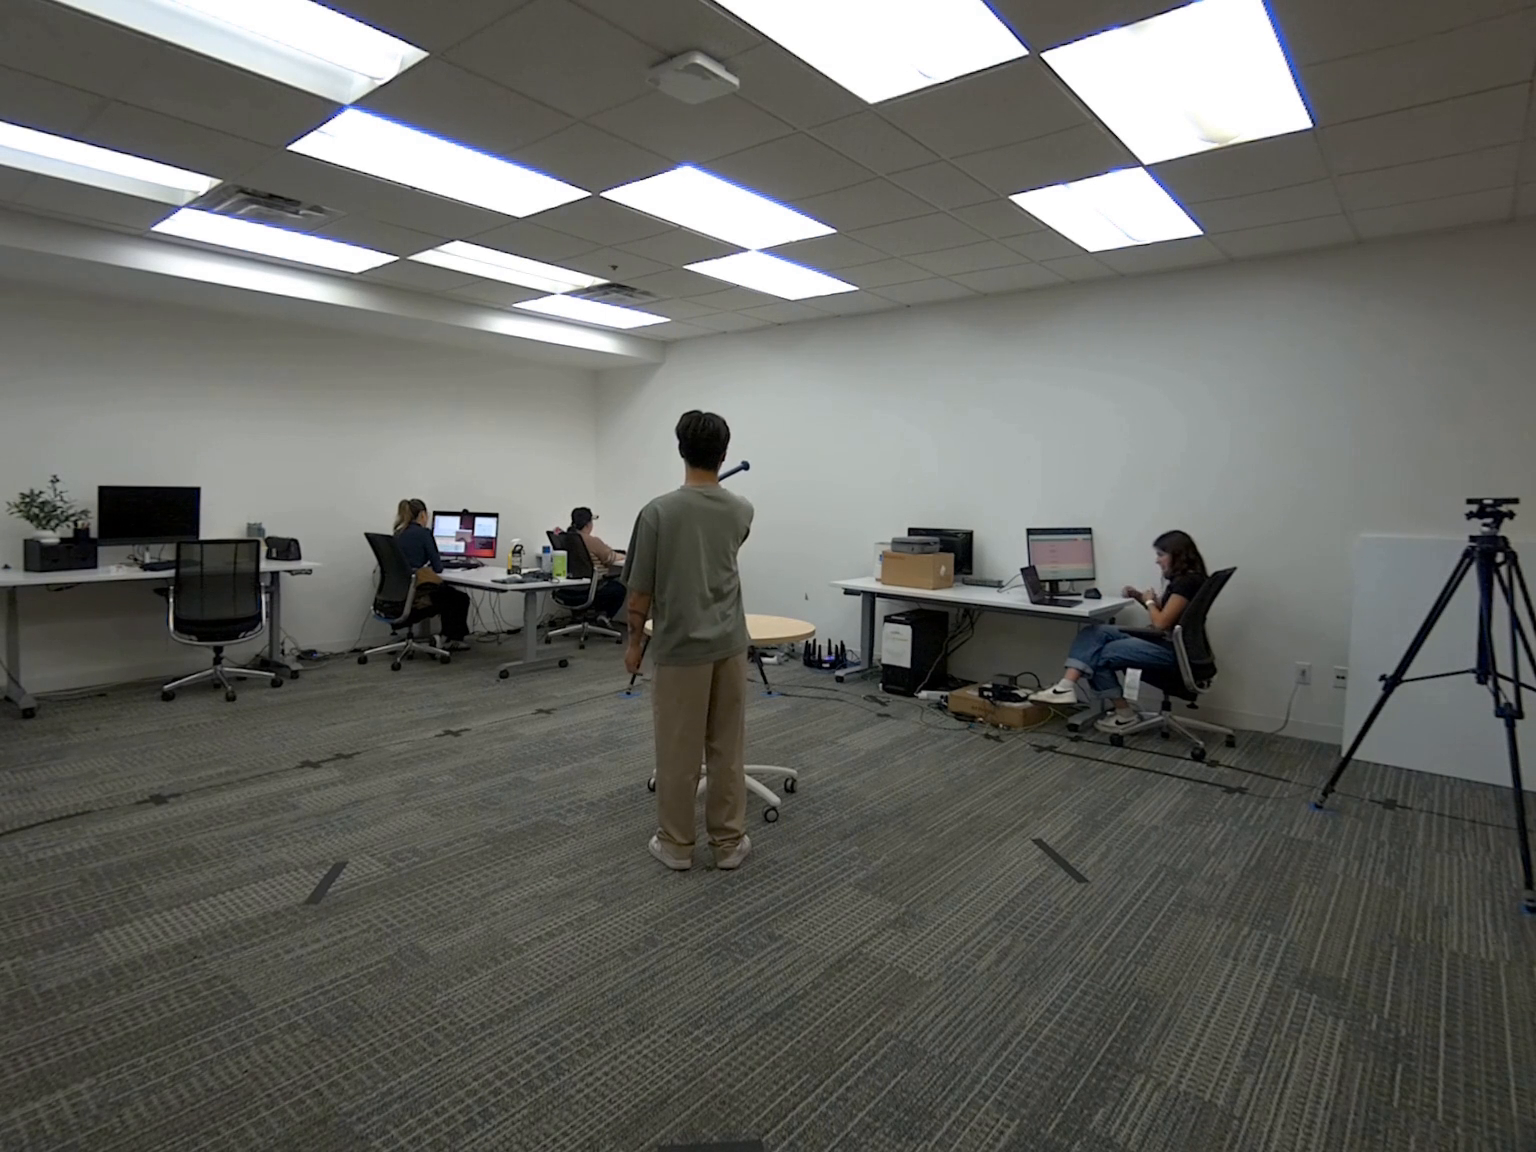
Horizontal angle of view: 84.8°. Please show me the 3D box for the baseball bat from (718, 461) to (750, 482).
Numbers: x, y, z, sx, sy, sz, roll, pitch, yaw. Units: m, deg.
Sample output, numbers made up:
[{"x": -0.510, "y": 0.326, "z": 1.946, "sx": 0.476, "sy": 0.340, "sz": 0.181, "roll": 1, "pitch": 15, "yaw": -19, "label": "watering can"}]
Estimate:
[{"x": -0.284, "y": -0.402, "z": 3.782, "sx": 0.537, "sy": 0.087, "sz": 0.092, "roll": -32, "pitch": 22, "yaw": -32, "label": "baseball bat"}]
